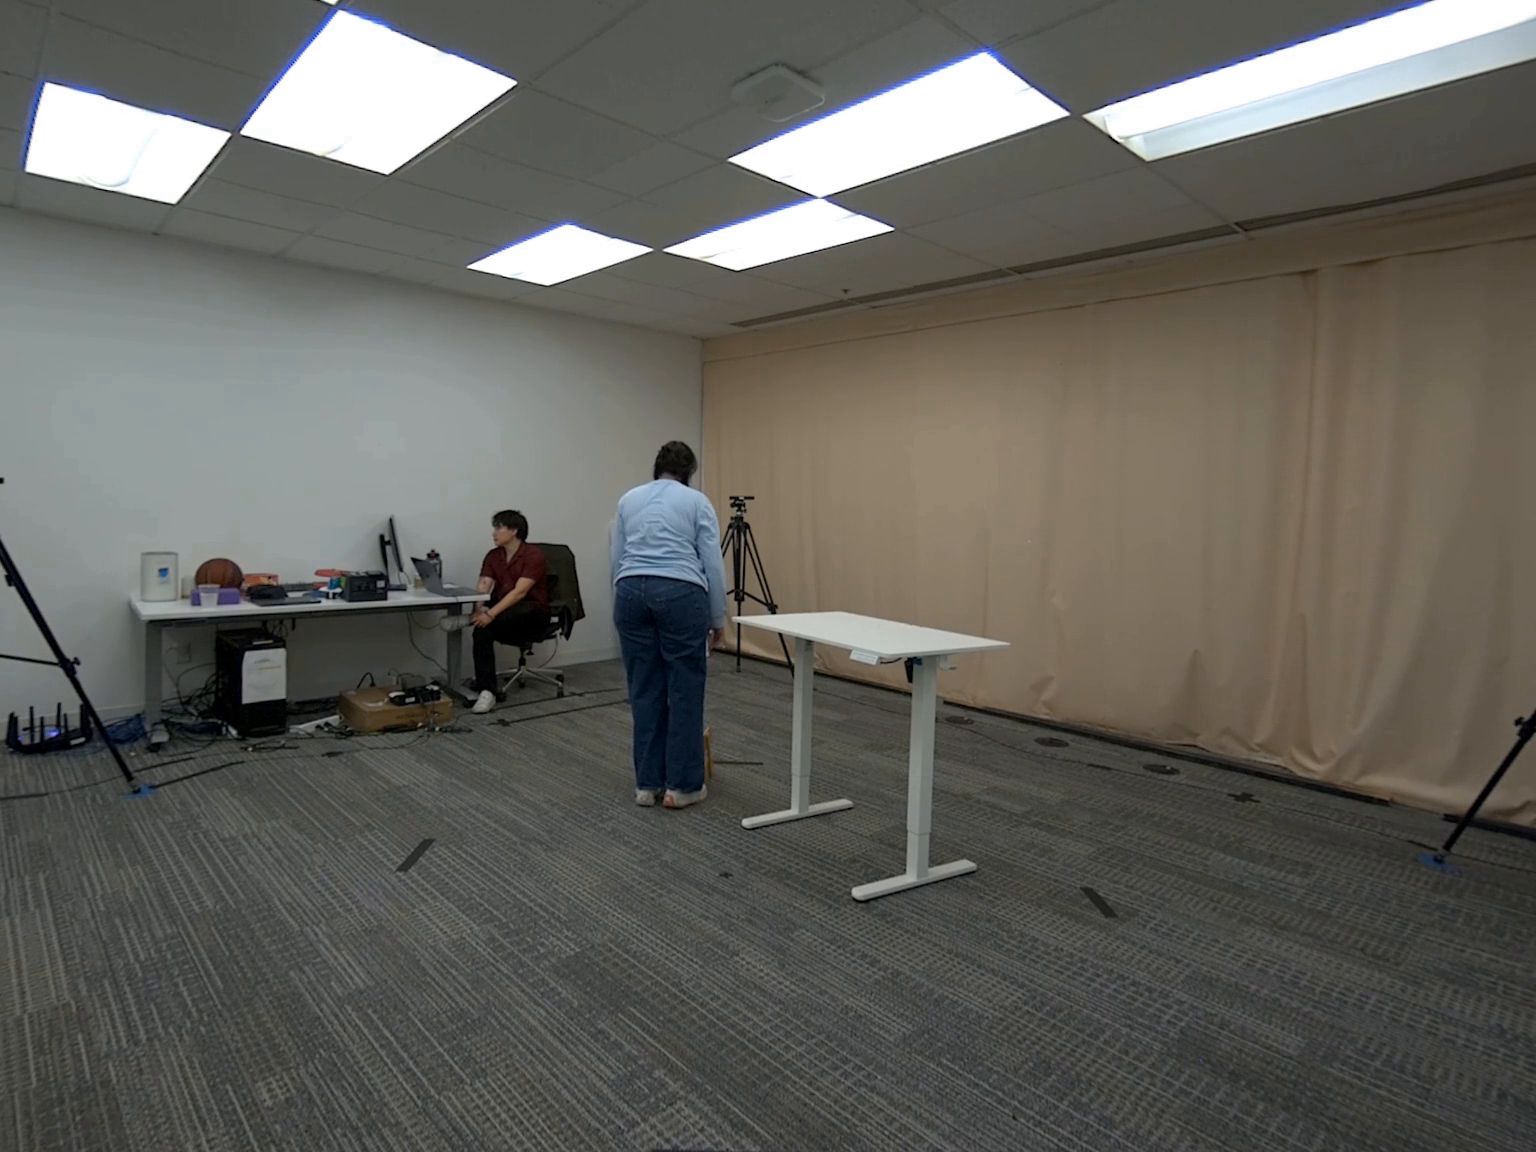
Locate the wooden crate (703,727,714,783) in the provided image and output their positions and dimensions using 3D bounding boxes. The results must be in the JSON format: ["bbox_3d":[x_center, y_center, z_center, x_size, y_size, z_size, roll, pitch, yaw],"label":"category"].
[{"bbox_3d":[-0.448,0.871,4.206,0.327,0.272,0.301,2,5,7],"label":"wooden crate"}]
